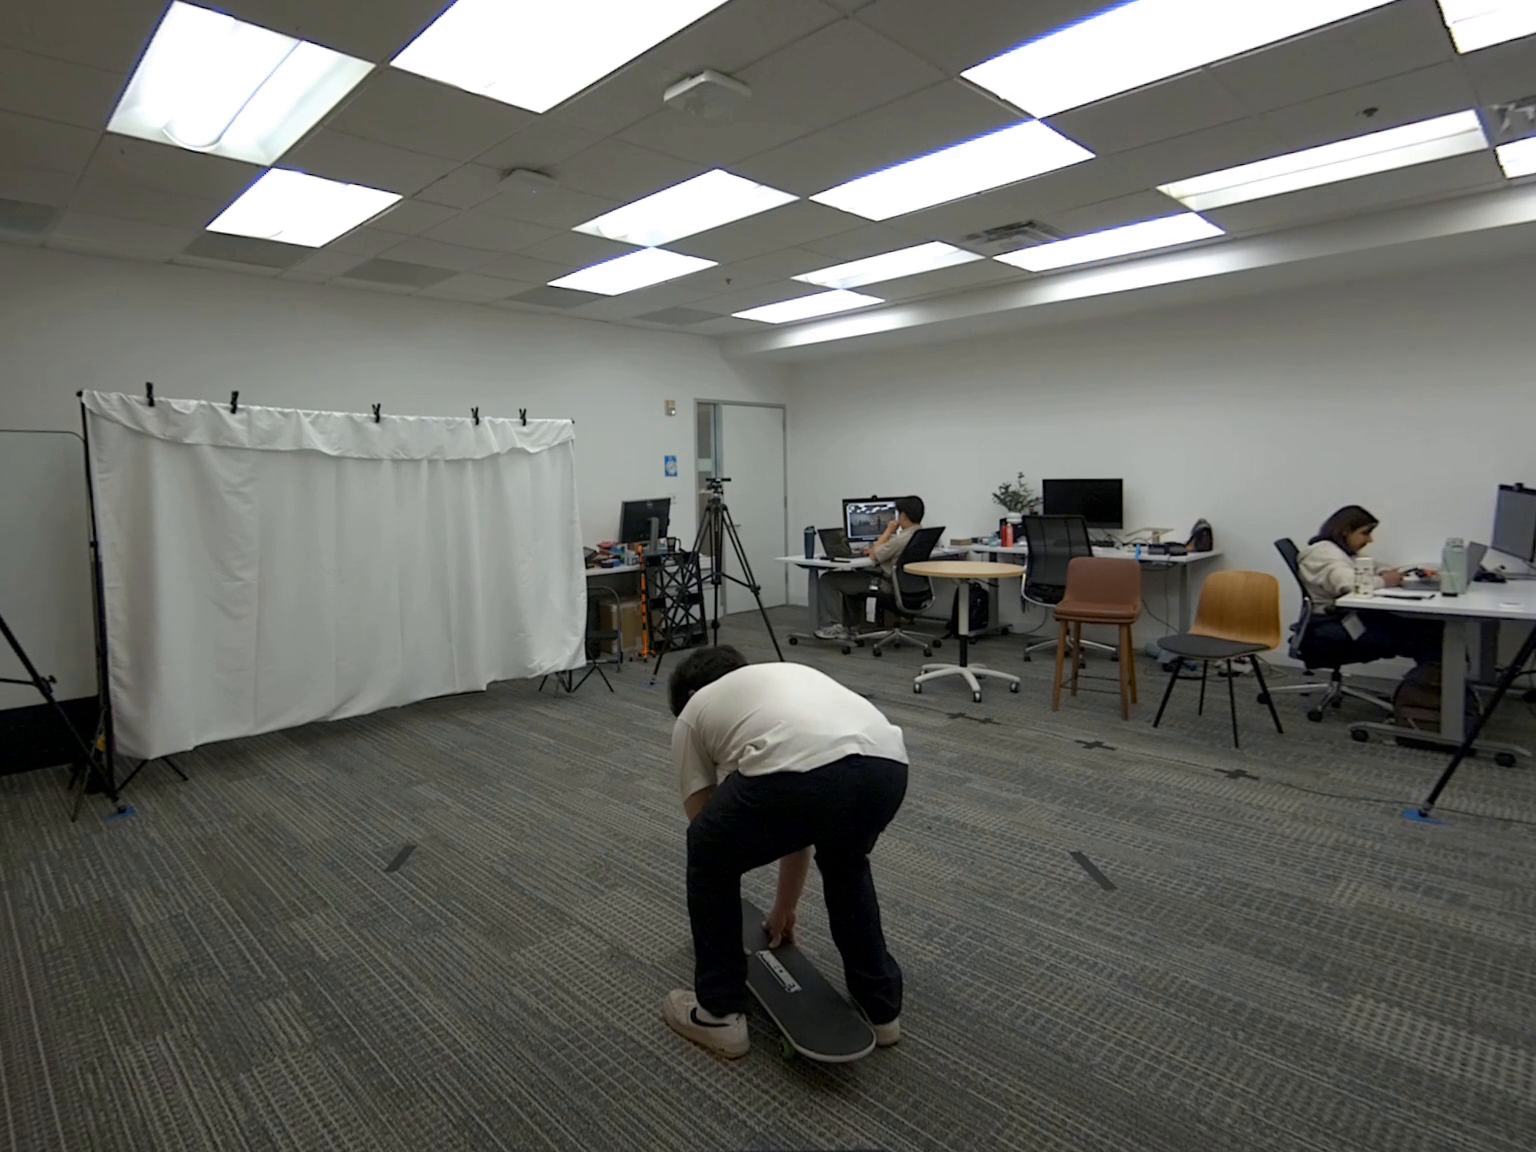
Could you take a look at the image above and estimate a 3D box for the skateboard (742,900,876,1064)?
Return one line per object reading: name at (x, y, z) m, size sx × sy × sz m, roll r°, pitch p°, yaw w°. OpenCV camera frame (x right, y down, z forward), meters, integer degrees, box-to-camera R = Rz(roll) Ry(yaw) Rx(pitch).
skateboard at (0.037, 1.090, 2.278) m, size 0.190 × 0.110 × 0.805 m, roll -4°, pitch 7°, yaw -24°
